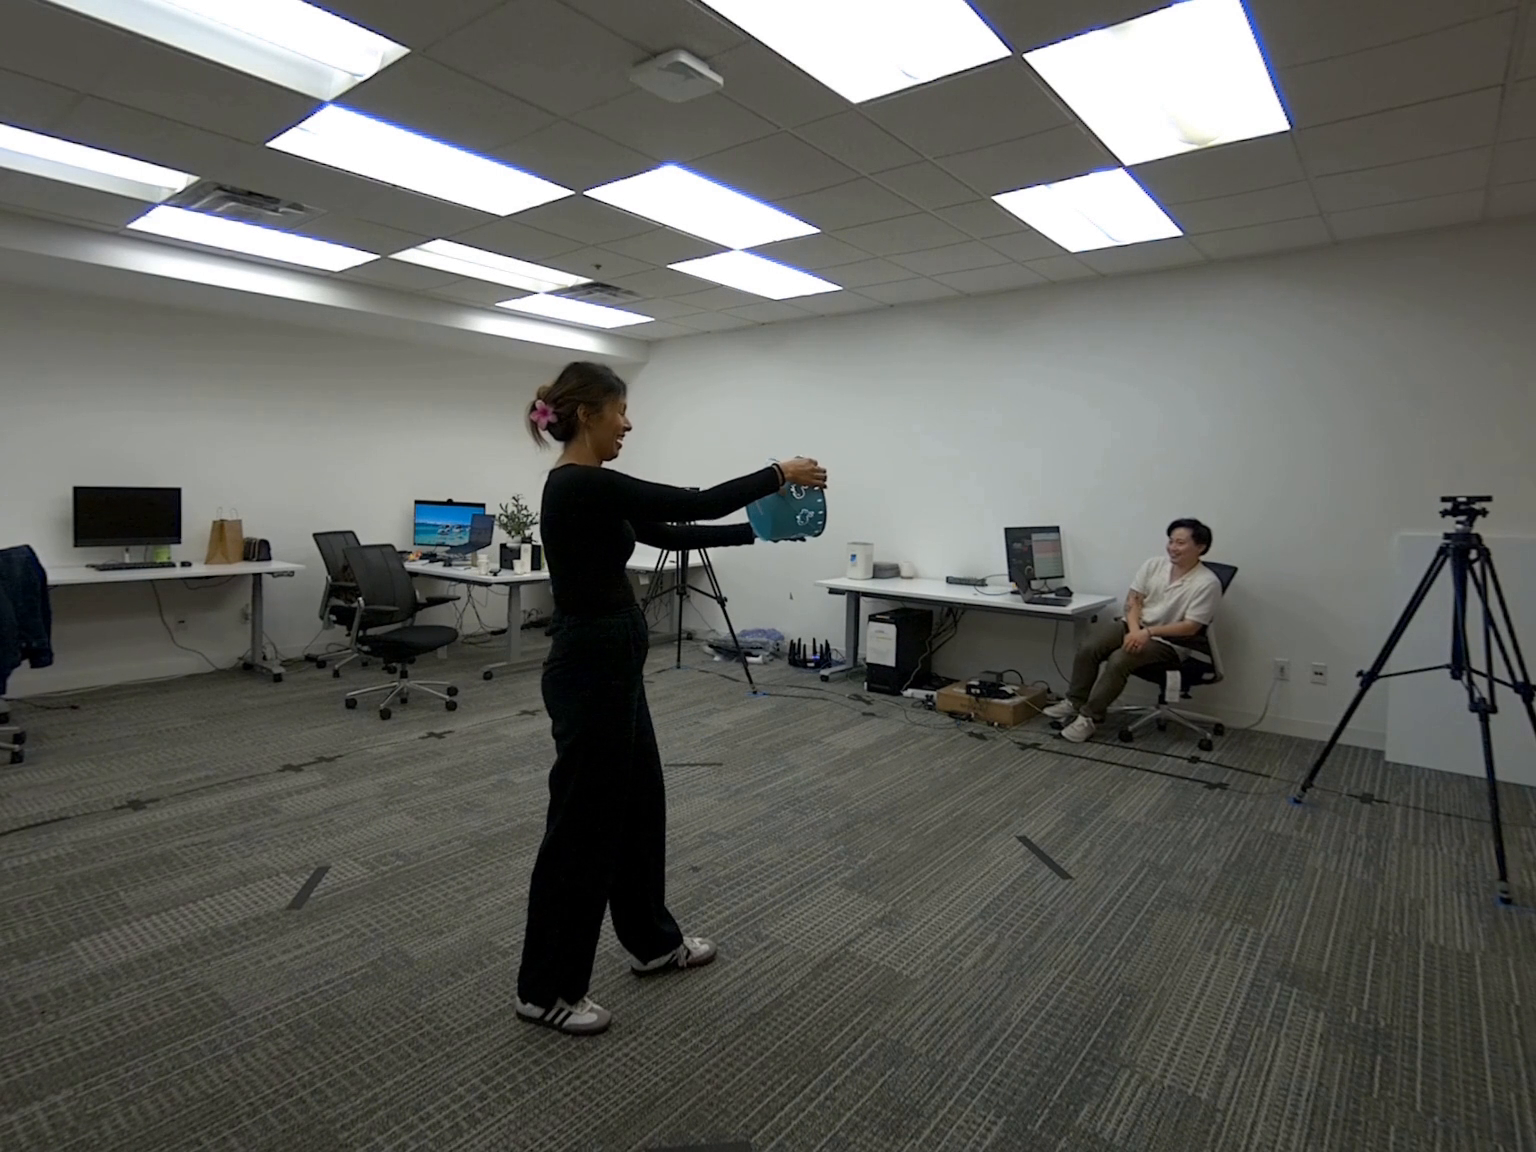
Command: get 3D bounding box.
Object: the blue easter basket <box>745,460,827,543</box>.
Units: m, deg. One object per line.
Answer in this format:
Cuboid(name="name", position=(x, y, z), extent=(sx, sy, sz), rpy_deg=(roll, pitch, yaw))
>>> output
Cuboid(name="blue easter basket", position=(0.023, -0.209, 2.330), extent=(0.154, 0.242, 0.248), rpy_deg=(-12, 7, -15))
